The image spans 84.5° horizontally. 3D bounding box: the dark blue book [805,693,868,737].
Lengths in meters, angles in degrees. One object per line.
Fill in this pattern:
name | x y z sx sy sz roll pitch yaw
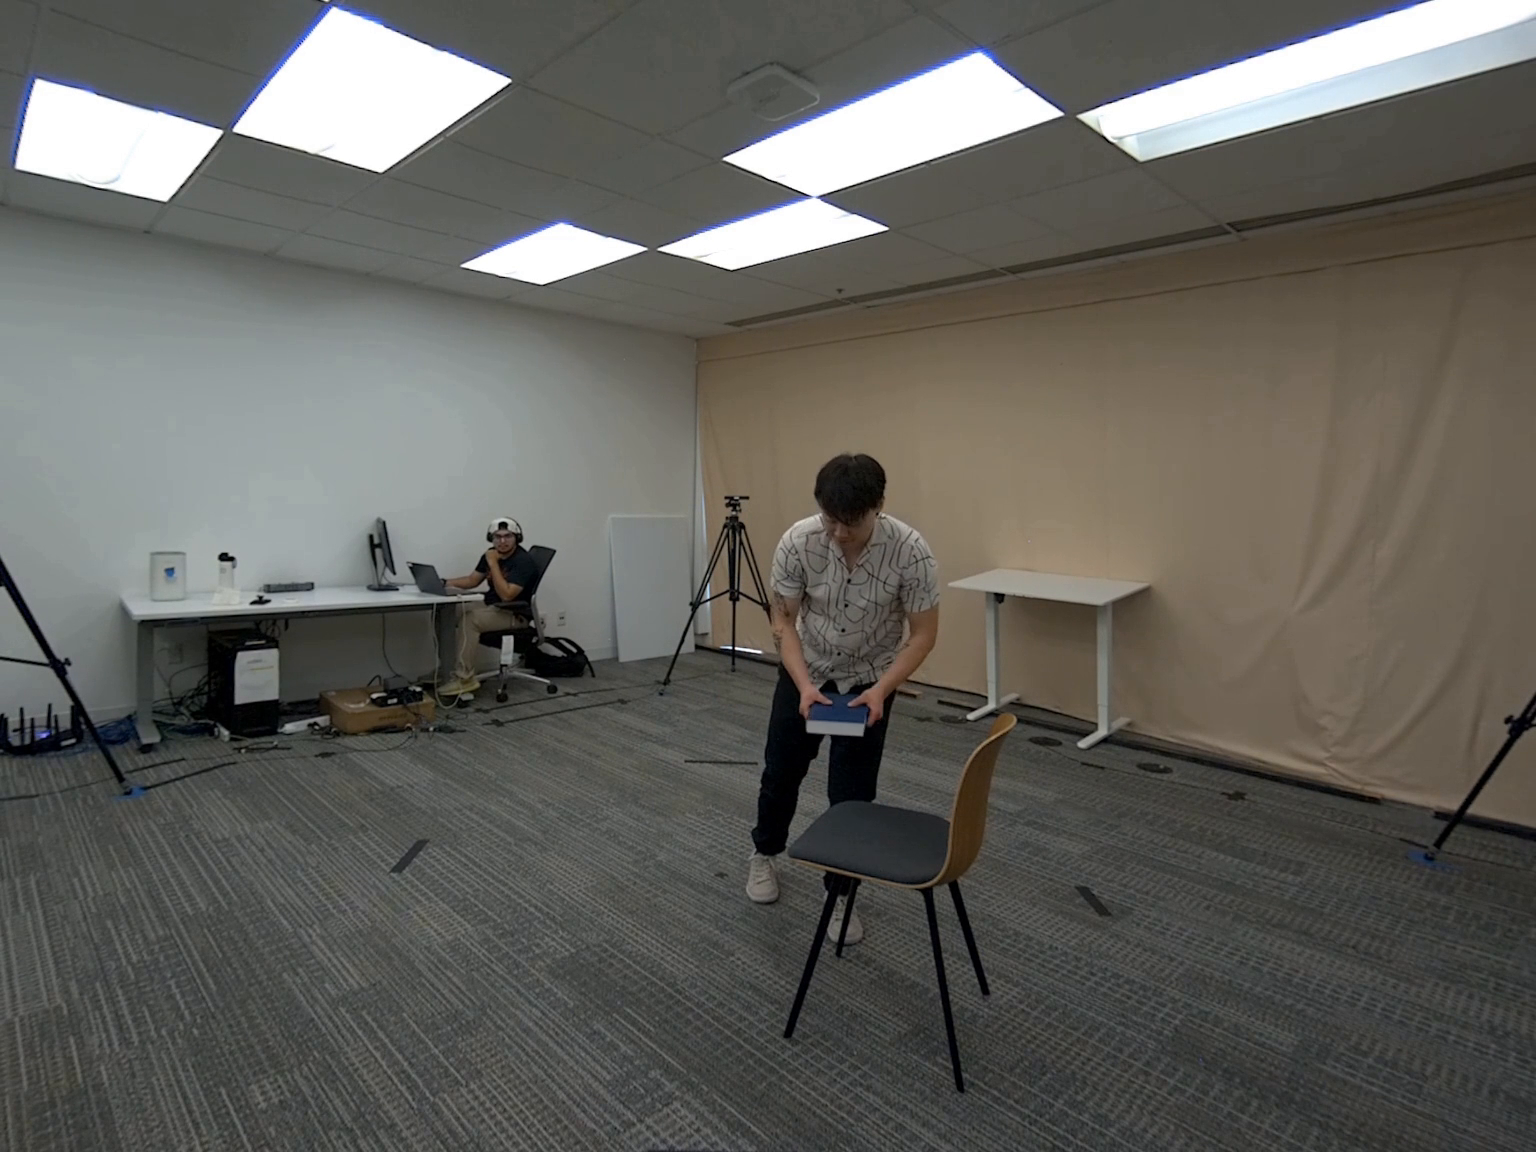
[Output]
dark blue book | 0.188 0.407 2.418 0.164 0.045 0.245 -1 8 8
